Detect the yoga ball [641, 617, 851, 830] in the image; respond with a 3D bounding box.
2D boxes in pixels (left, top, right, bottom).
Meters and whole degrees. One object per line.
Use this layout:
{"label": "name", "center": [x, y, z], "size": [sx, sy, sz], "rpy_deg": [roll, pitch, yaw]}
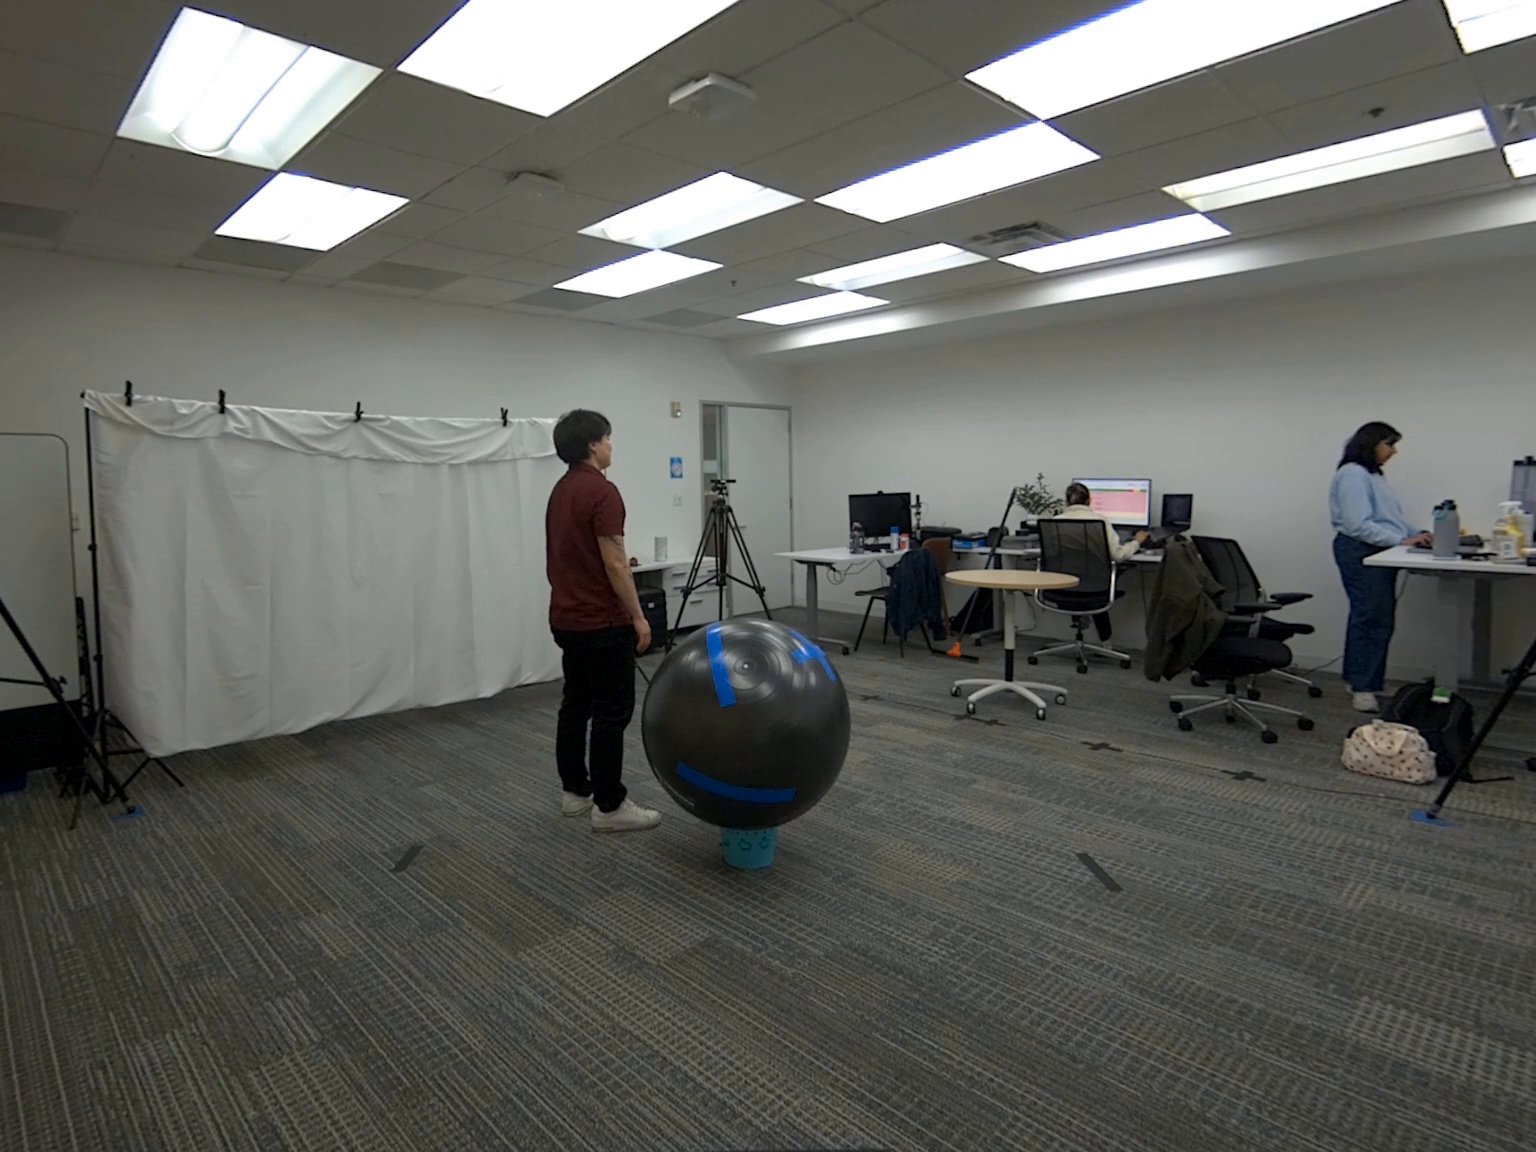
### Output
{"label": "yoga ball", "center": [-0.081, 0.537, 3.119], "size": [0.757, 0.755, 0.762], "rpy_deg": [-1, 5, -2]}
